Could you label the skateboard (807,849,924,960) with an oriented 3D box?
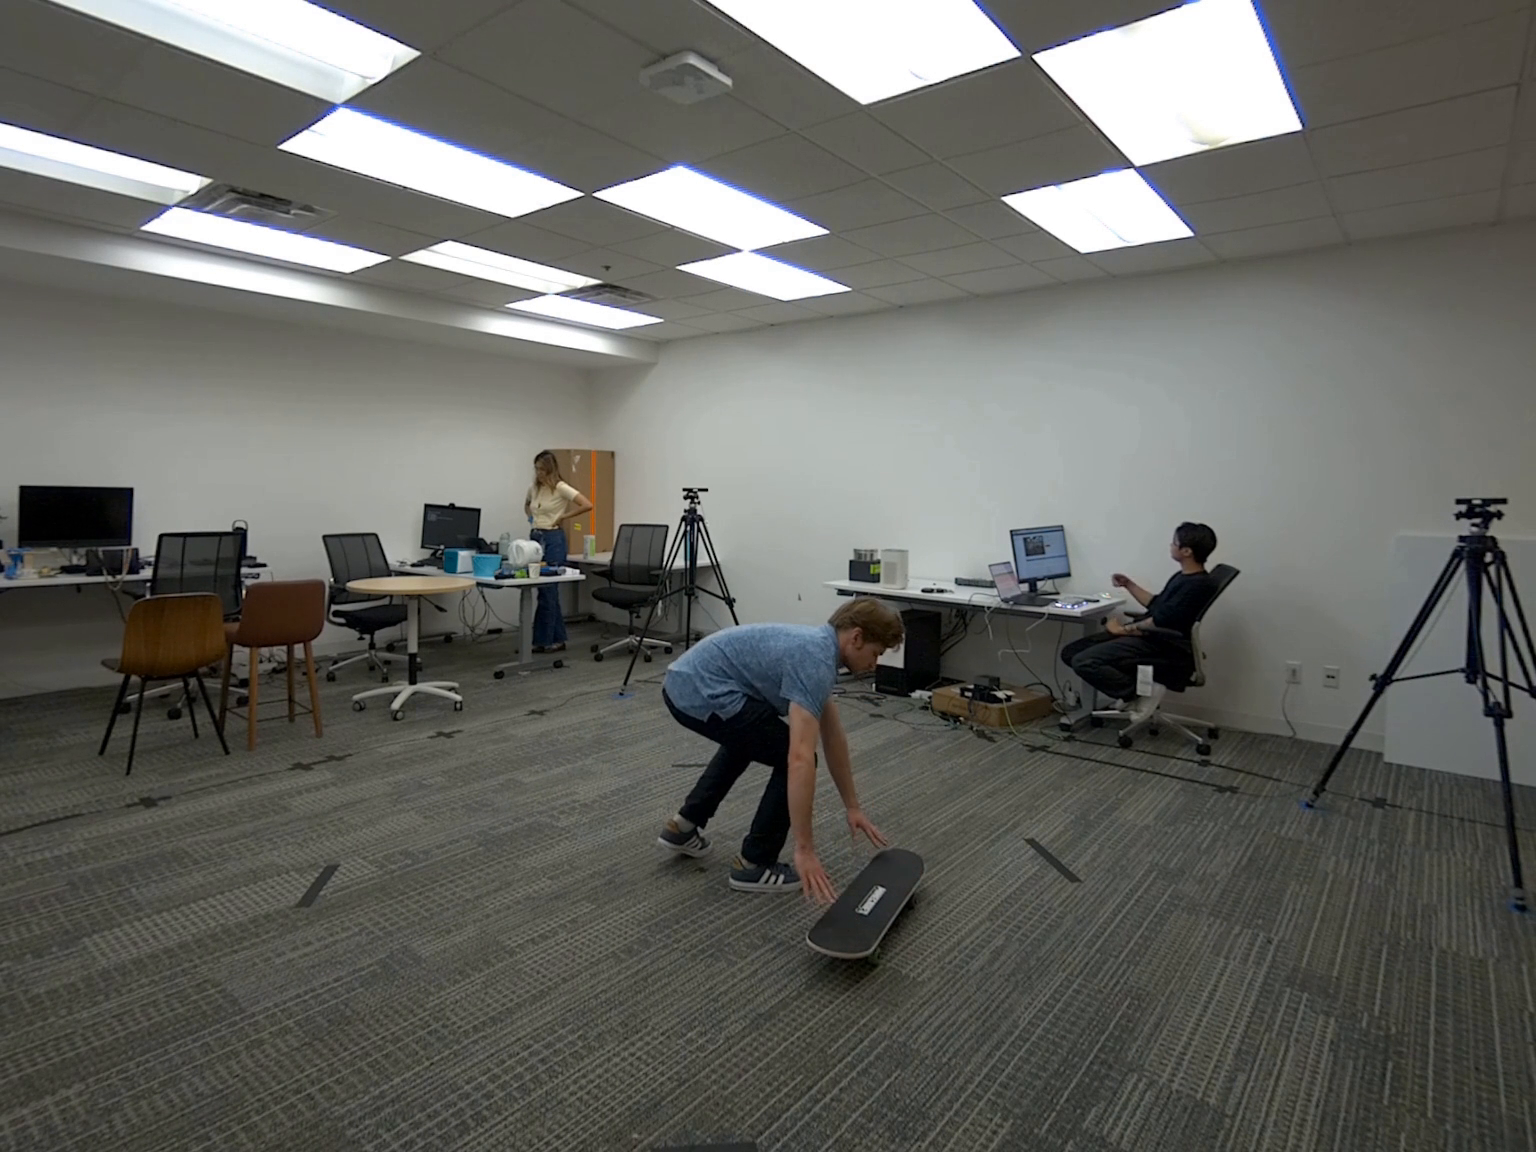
[{"bbox_3d":[0.328,1.064,2.721,0.199,0.110,0.767,3,6,26],"label":"skateboard"}]
